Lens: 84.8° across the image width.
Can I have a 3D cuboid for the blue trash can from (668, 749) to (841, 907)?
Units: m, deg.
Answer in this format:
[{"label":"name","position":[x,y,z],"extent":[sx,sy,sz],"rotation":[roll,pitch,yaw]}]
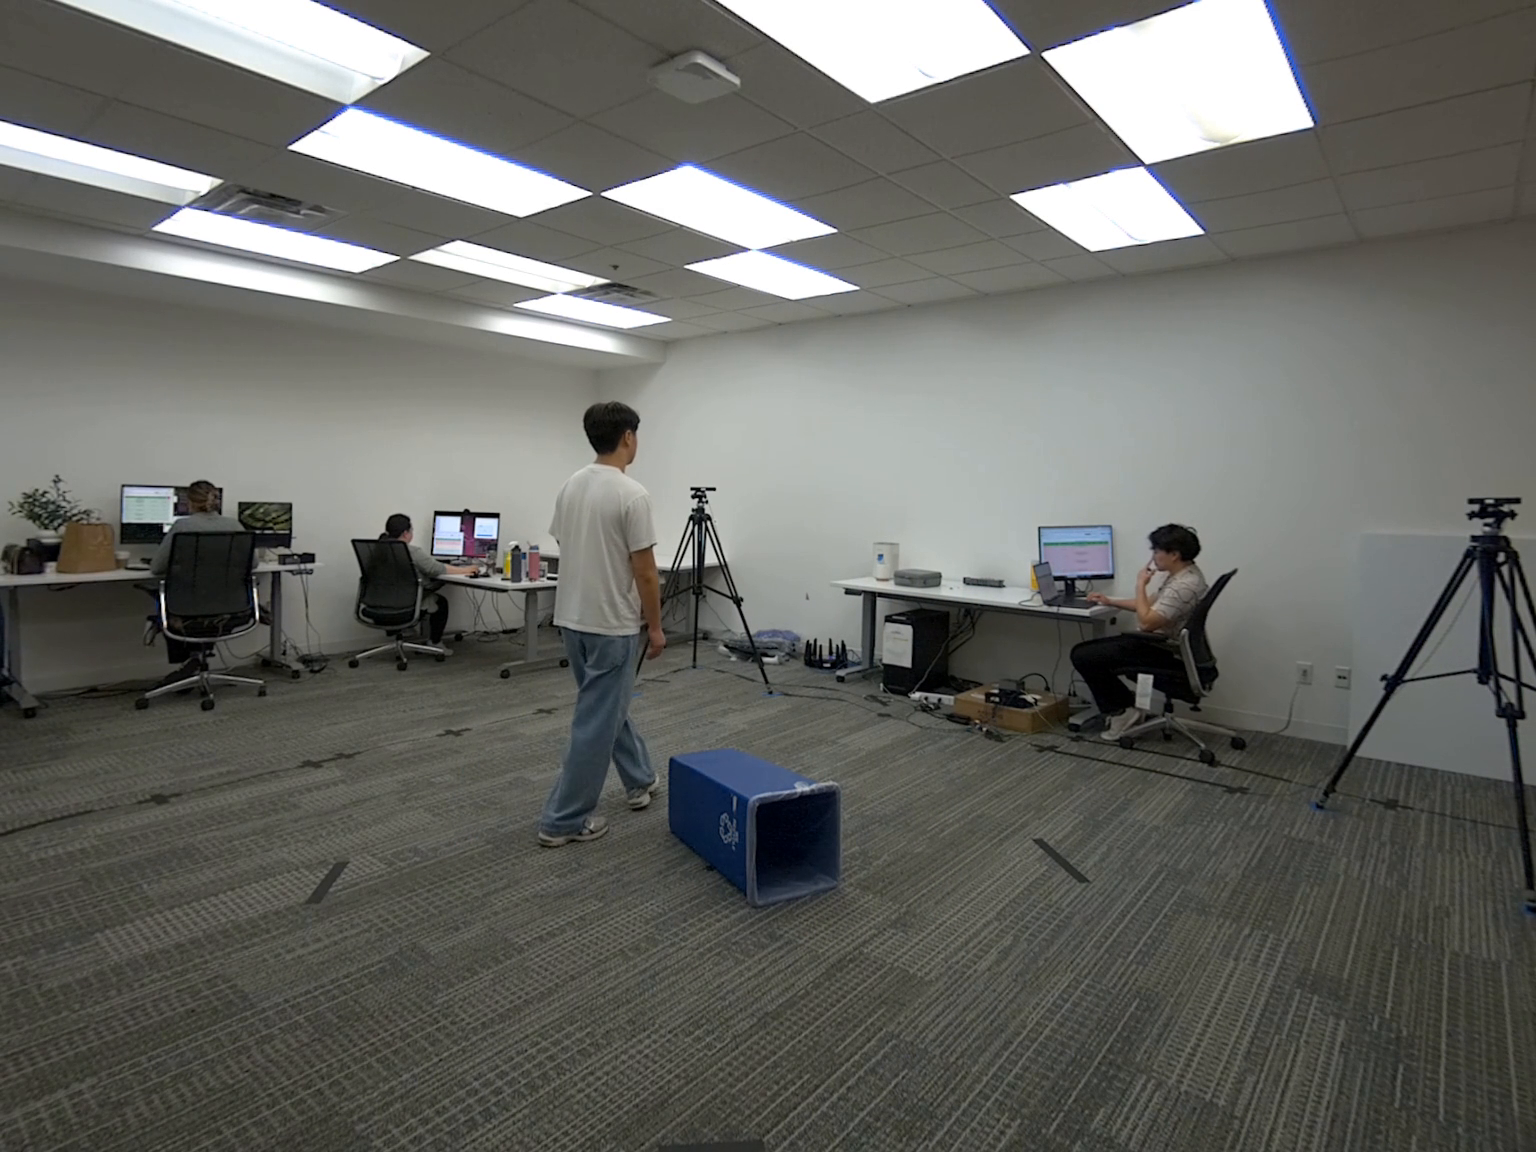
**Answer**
[{"label":"blue trash can","position":[-0.101,0.895,3.193],"extent":[0.364,0.377,0.734],"rotation":[-2,3,-32]}]
